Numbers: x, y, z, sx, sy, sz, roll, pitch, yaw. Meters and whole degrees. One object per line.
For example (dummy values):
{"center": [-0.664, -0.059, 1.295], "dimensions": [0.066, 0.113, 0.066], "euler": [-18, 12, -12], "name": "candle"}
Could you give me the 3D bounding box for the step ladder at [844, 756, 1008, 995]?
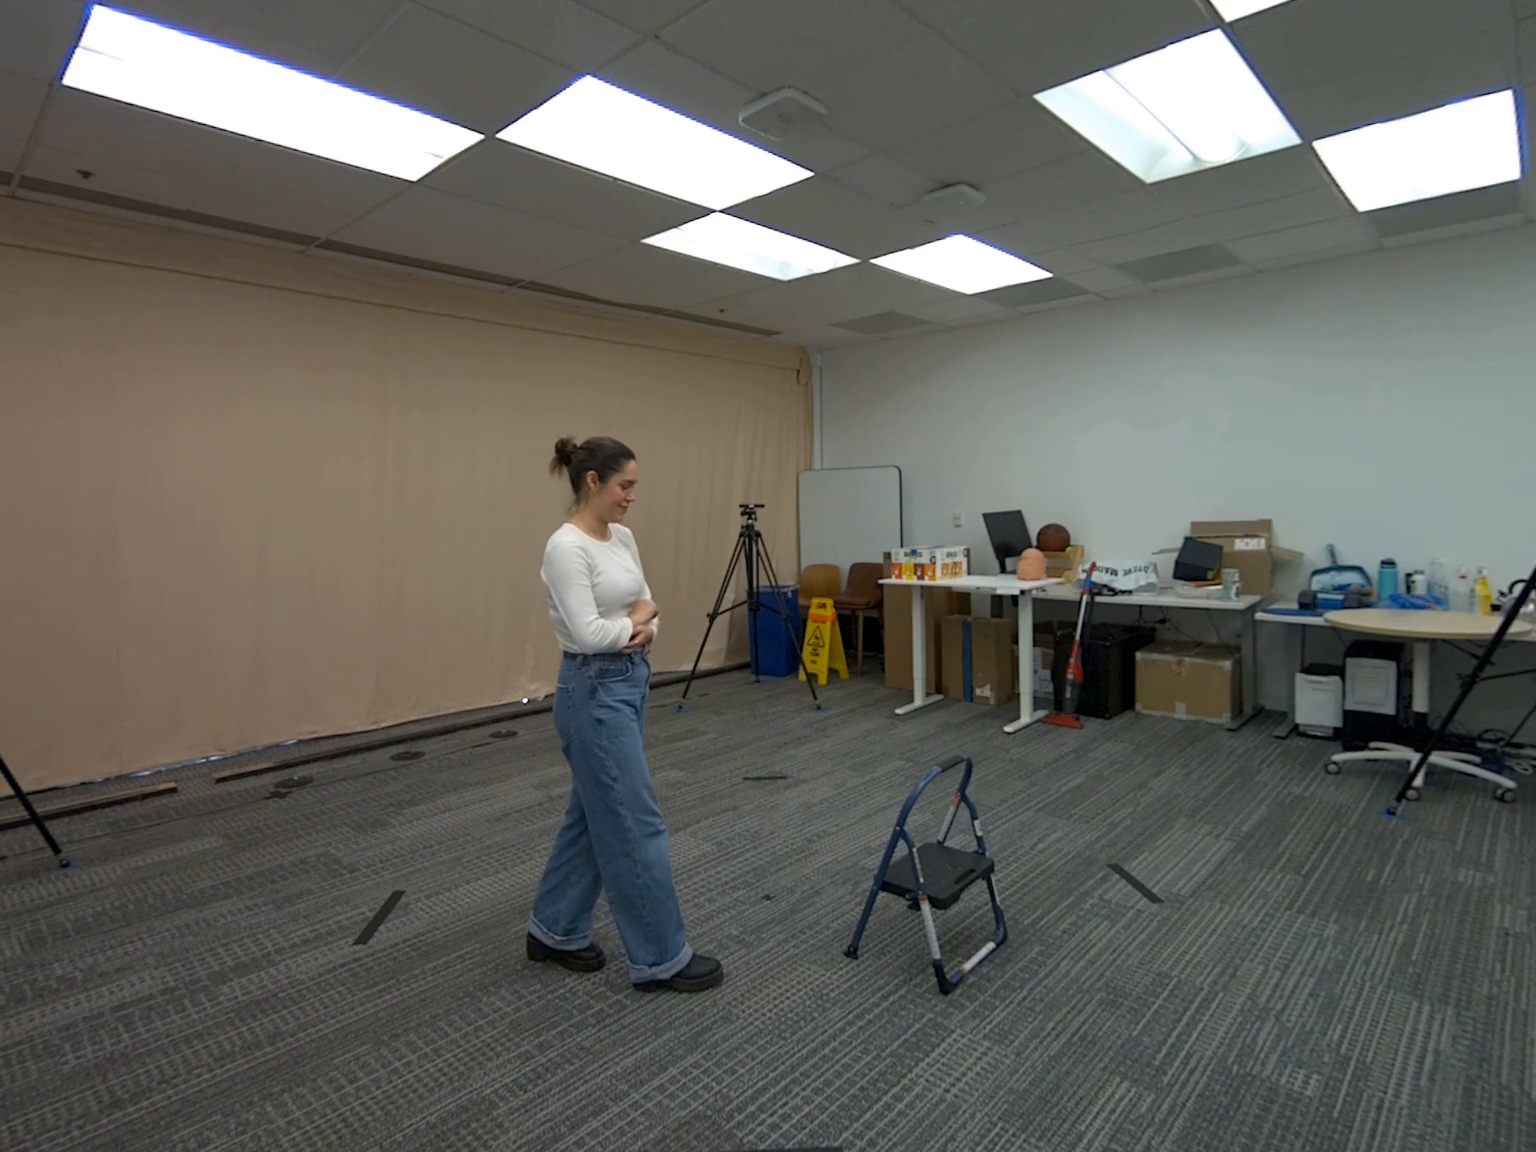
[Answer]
{"center": [0.501, 0.861, 2.615], "dimensions": [0.361, 0.604, 0.418], "euler": [2, 5, 40], "name": "step ladder"}
